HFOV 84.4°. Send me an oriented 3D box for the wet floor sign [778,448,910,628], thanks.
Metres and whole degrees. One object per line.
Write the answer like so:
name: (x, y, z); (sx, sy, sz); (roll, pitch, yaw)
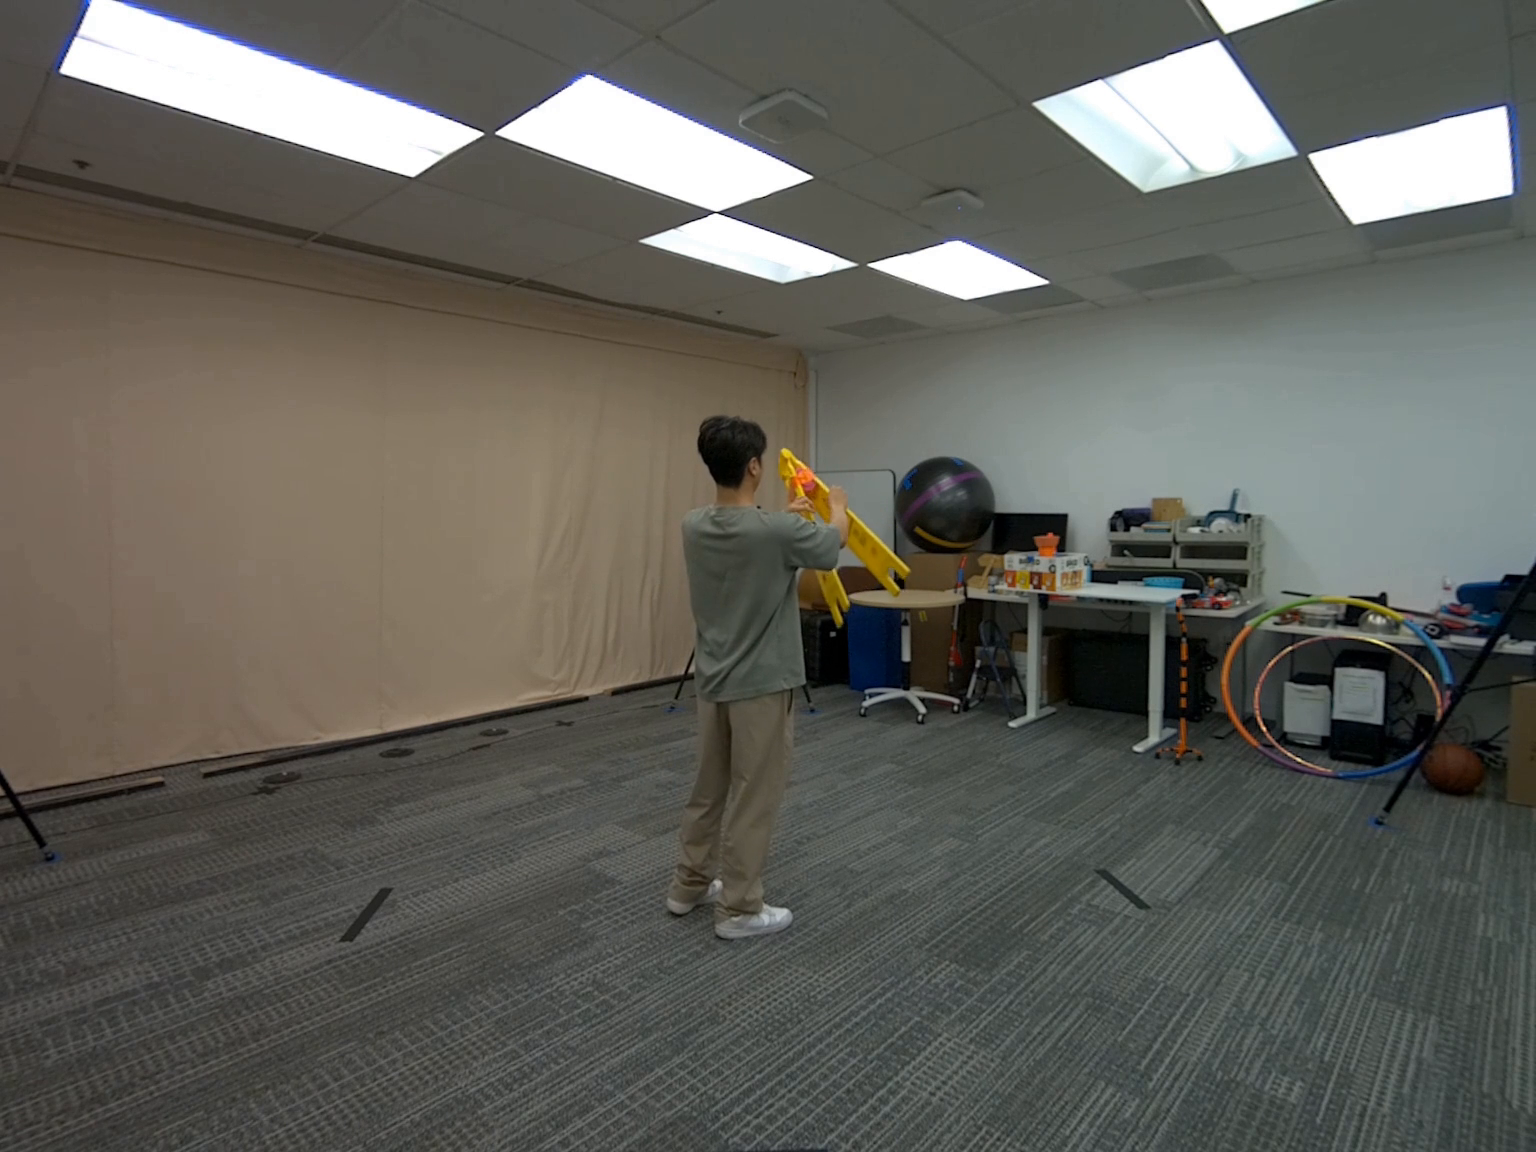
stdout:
wet floor sign: (0.213, -0.180, 3.101); (0.288, 0.659, 0.278); (-28, -19, -9)
